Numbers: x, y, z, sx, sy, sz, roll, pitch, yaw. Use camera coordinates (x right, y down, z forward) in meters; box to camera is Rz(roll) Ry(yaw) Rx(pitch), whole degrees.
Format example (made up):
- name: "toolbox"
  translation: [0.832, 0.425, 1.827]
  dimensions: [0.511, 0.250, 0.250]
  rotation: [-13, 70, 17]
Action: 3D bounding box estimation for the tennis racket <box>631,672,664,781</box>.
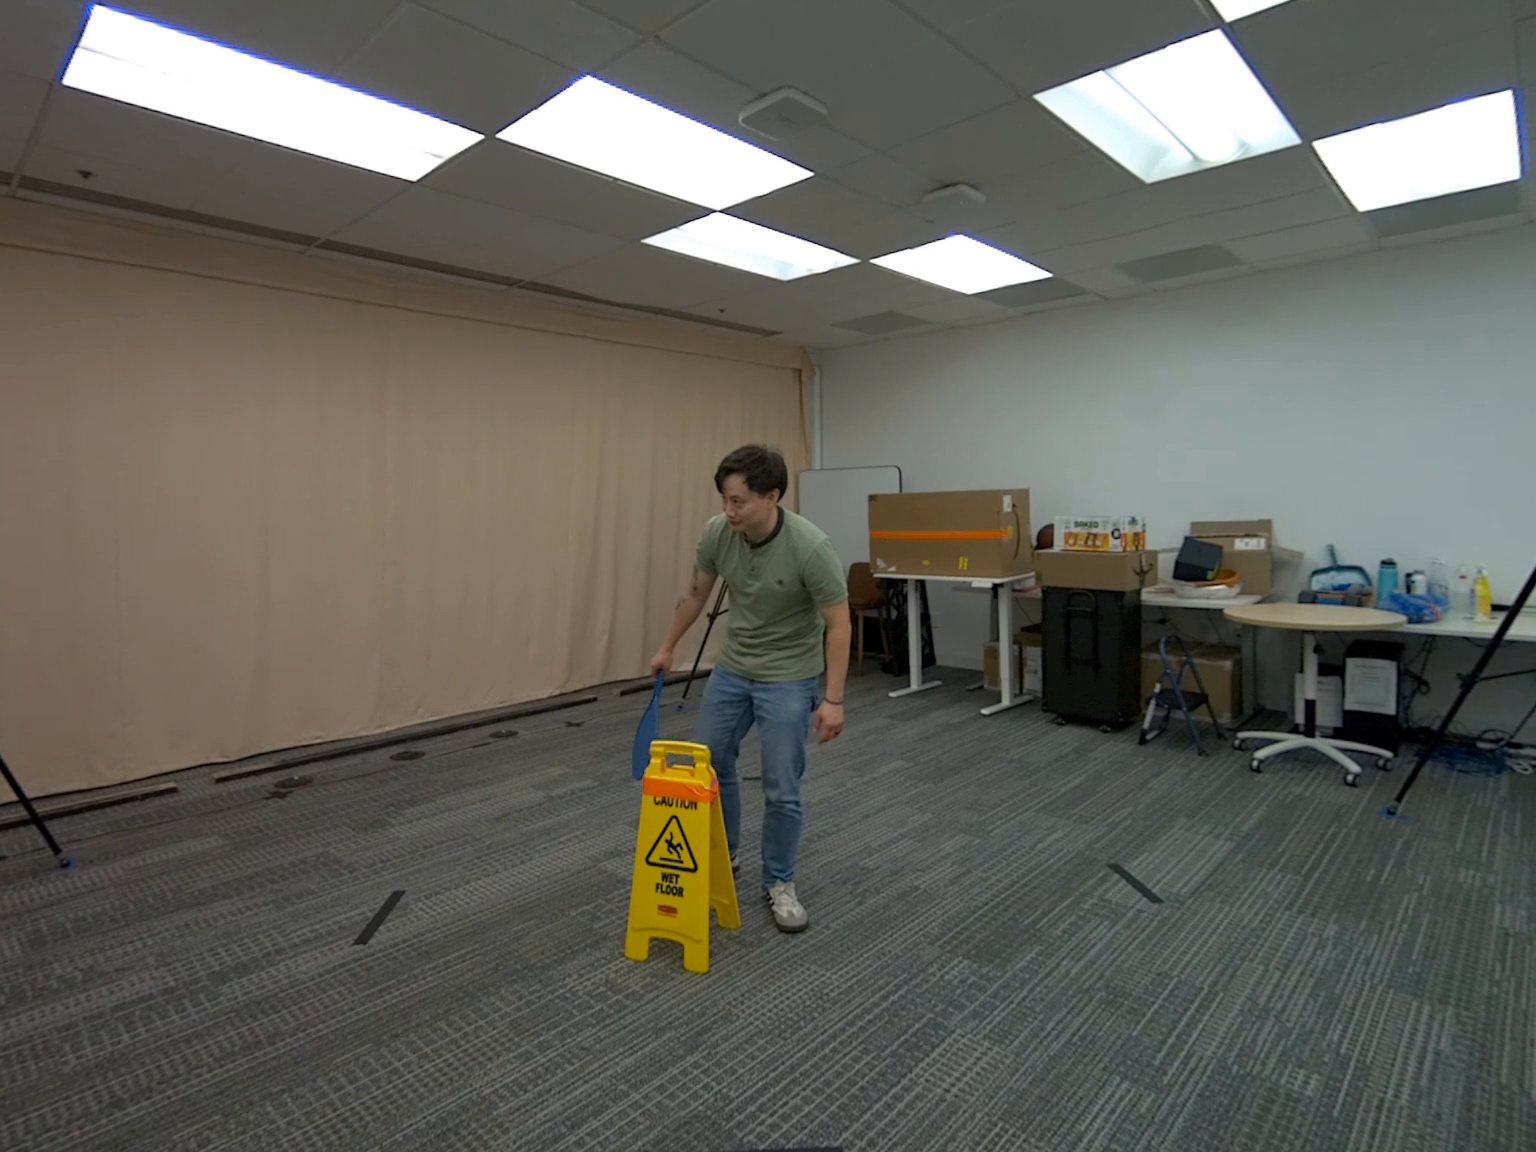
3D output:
- name: "tennis racket"
  translation: [-0.424, 0.535, 3.084]
  dimensions: [0.031, 0.434, 0.219]
  rotation: [12, -7, -30]
